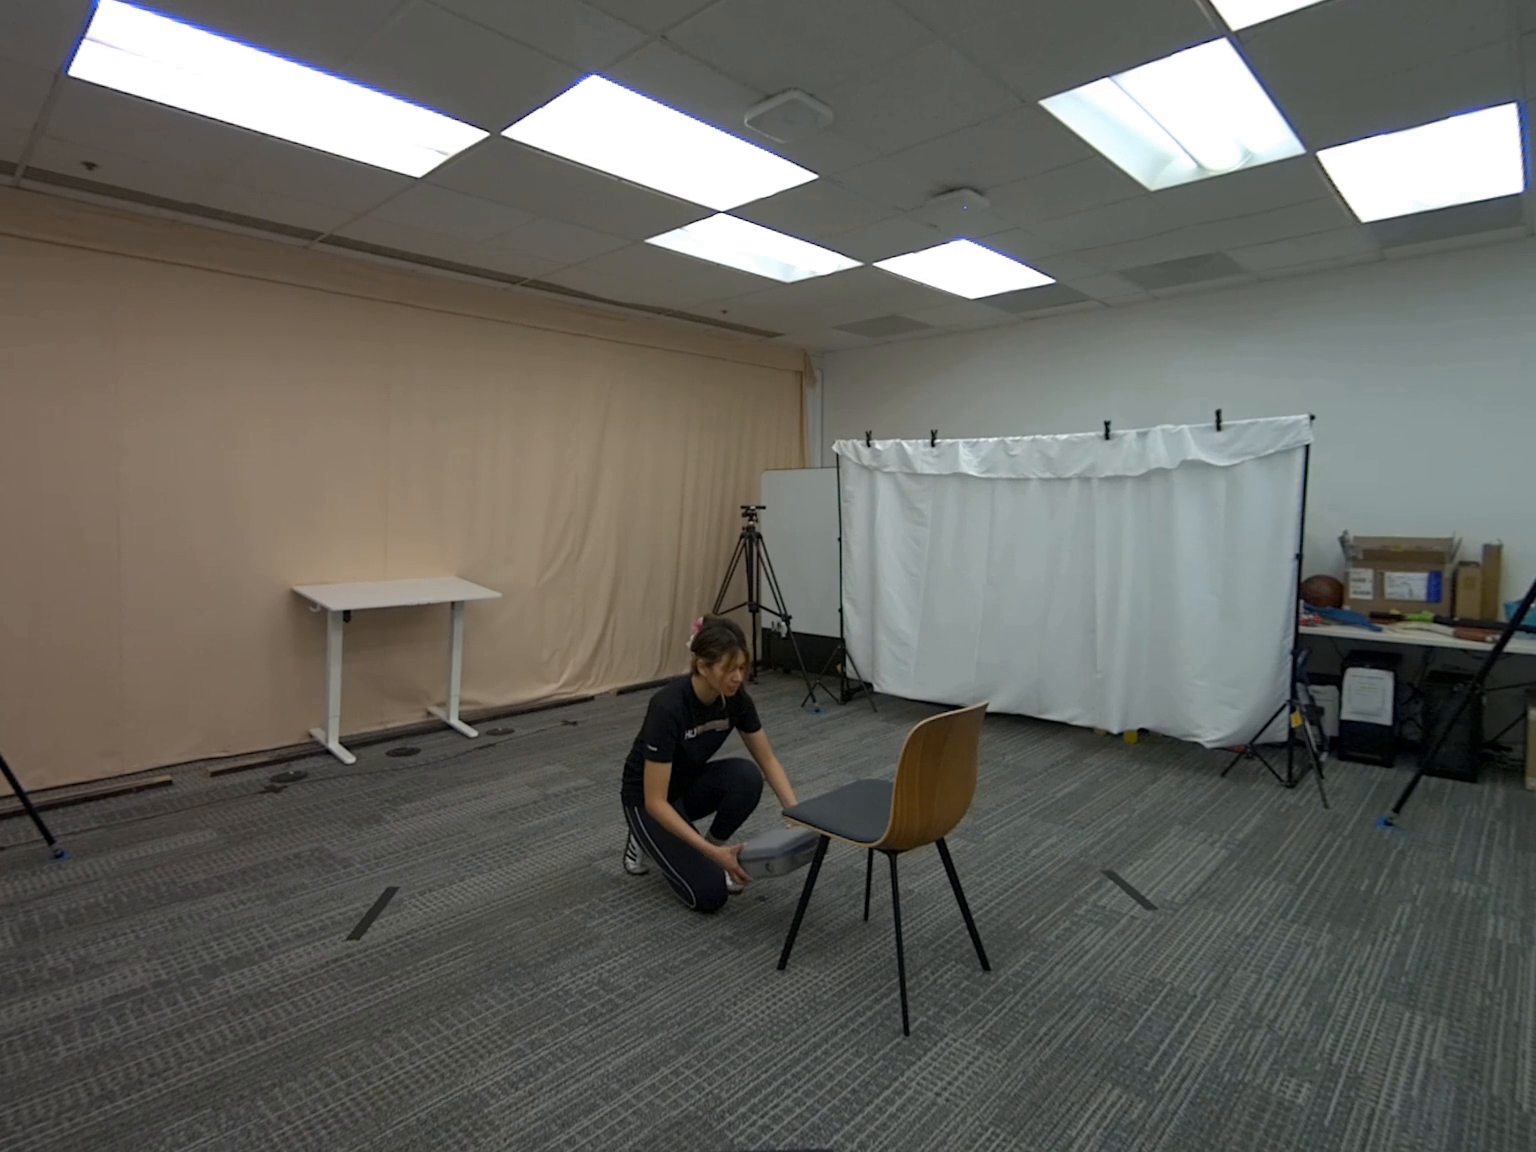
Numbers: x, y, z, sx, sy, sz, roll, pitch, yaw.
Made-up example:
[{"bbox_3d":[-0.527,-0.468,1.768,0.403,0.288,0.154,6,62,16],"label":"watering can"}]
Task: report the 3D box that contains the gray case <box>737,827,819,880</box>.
[{"bbox_3d":[0.047,0.907,2.778,0.267,0.105,0.249,-19,-9,42],"label":"gray case"}]
